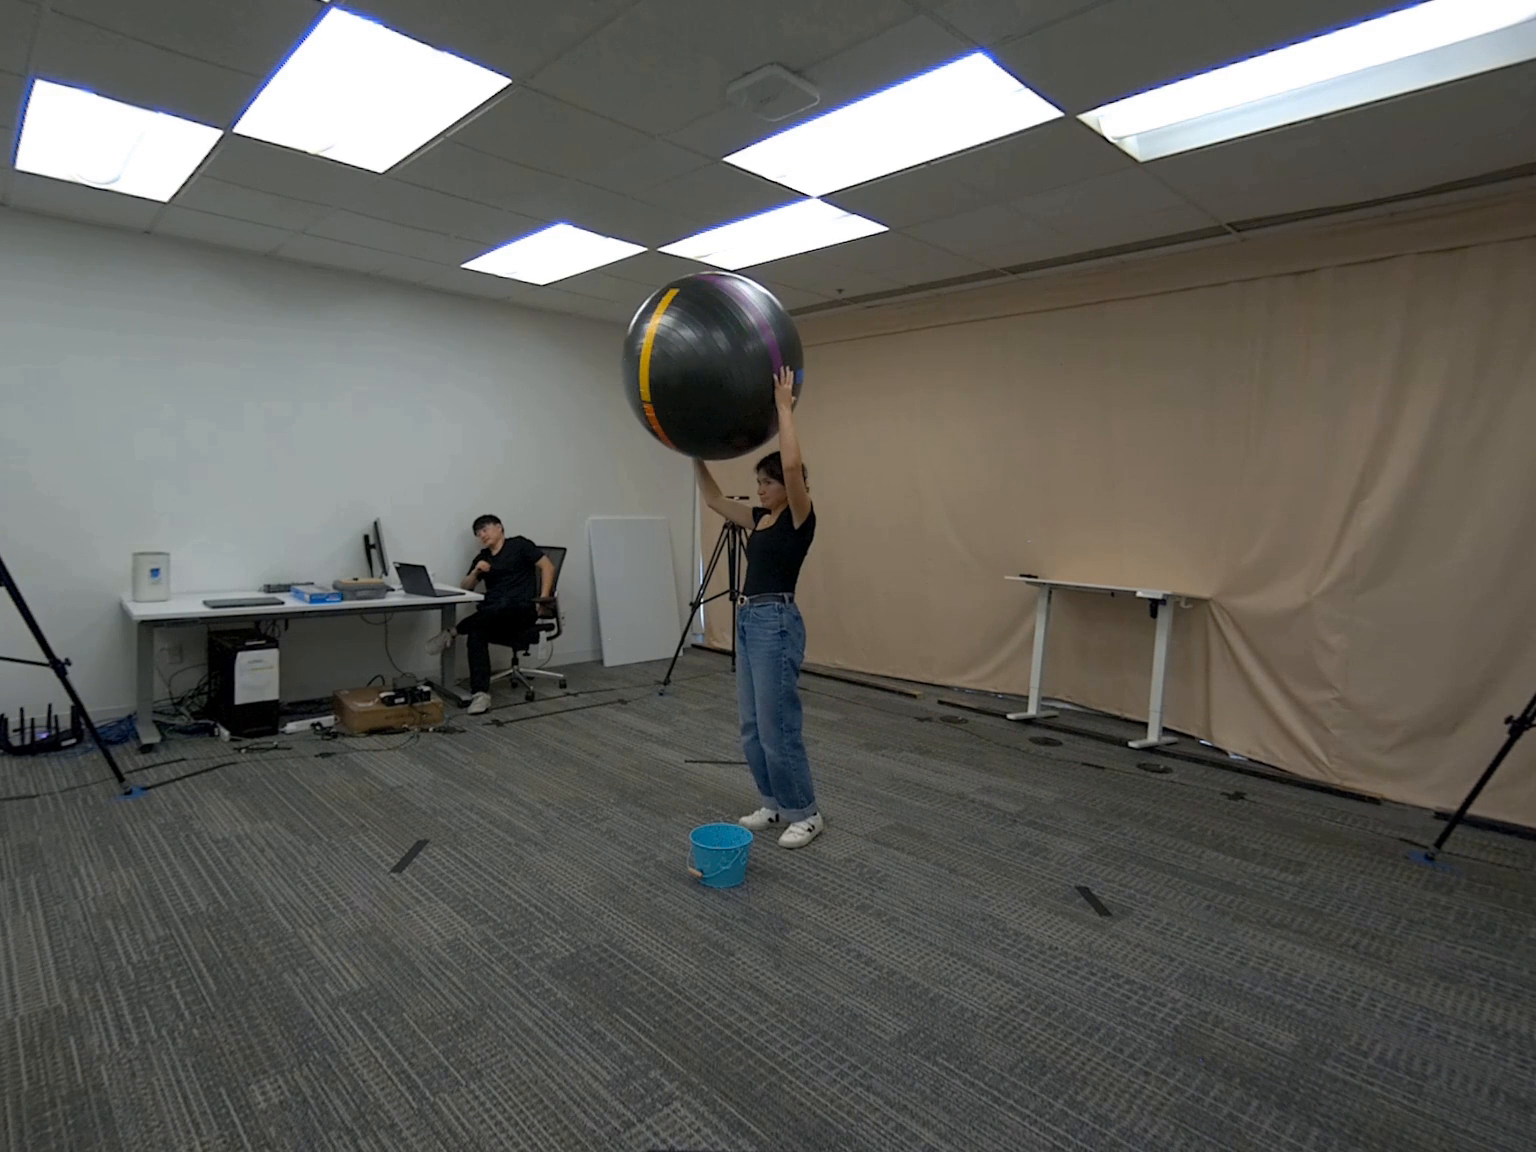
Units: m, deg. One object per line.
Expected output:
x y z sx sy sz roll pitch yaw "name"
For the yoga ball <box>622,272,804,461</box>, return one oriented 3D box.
-0.230 -0.865 3.492 0.757 0.756 0.761 1 4 -1 "yoga ball"
